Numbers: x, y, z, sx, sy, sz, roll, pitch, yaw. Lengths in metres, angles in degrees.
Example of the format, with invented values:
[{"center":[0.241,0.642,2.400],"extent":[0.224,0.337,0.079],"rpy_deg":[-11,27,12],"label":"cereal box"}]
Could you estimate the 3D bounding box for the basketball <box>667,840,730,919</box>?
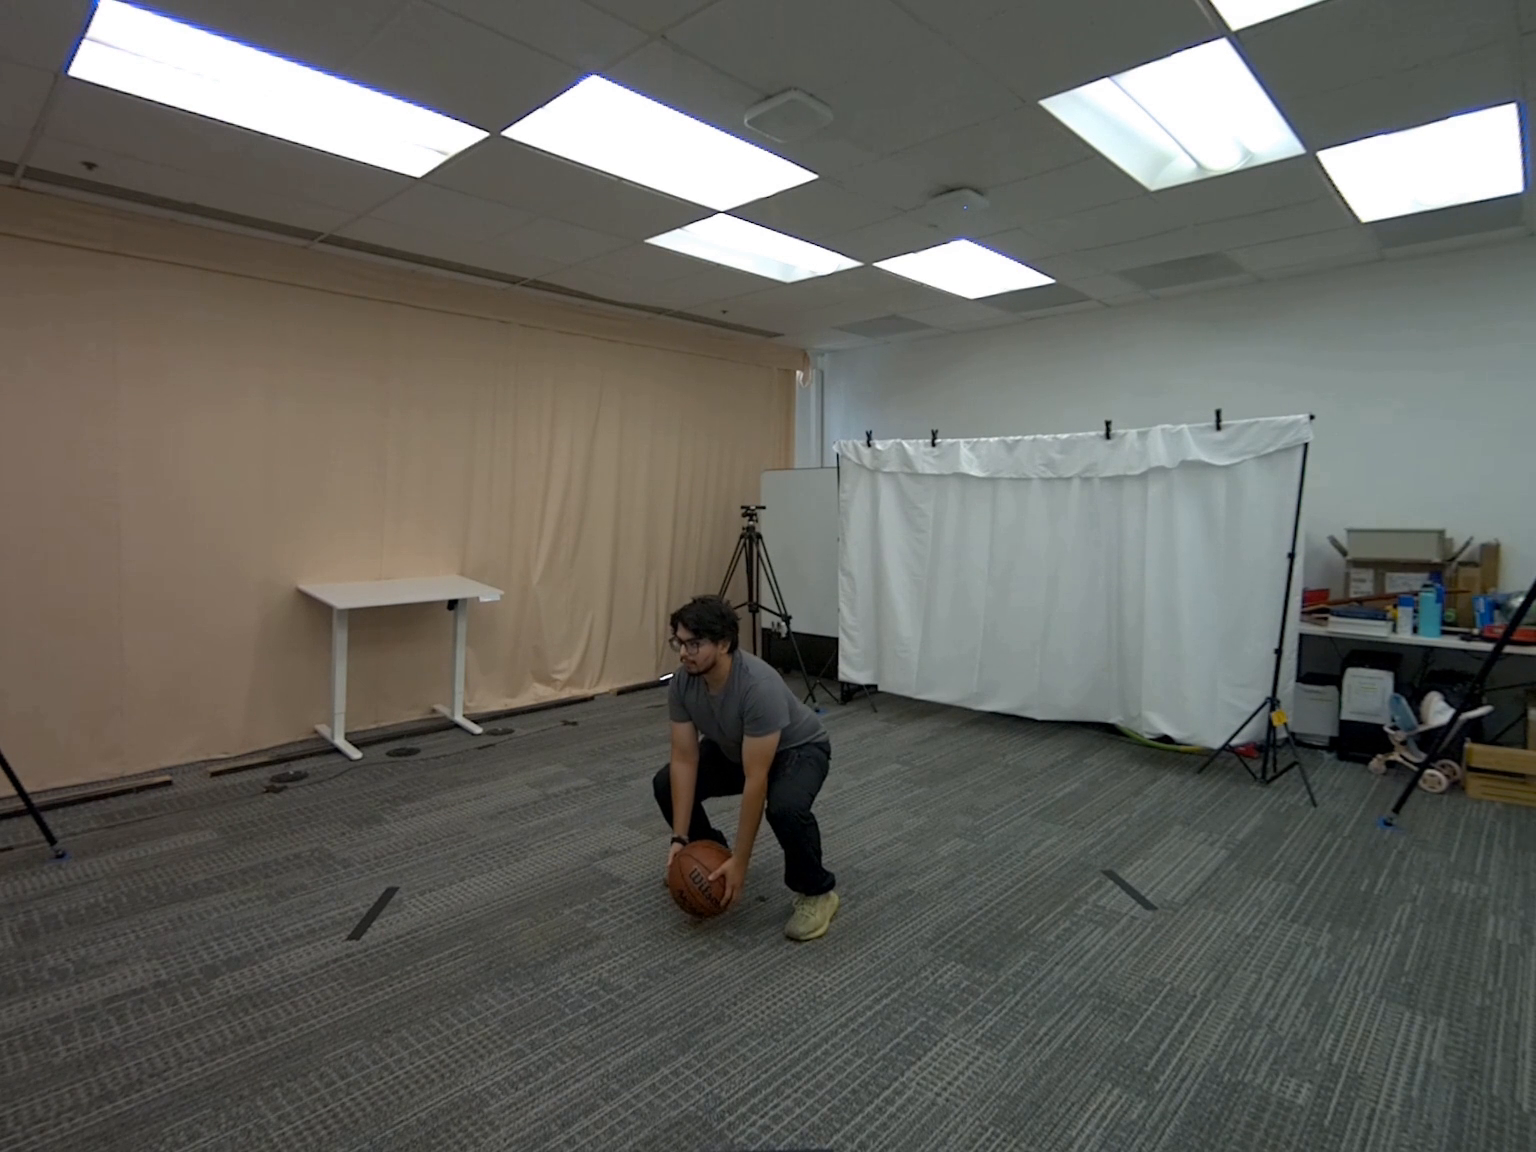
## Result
[{"center":[-0.209,0.992,2.774],"extent":[0.236,0.235,0.237],"rpy_deg":[0,4,-2],"label":"basketball"}]
